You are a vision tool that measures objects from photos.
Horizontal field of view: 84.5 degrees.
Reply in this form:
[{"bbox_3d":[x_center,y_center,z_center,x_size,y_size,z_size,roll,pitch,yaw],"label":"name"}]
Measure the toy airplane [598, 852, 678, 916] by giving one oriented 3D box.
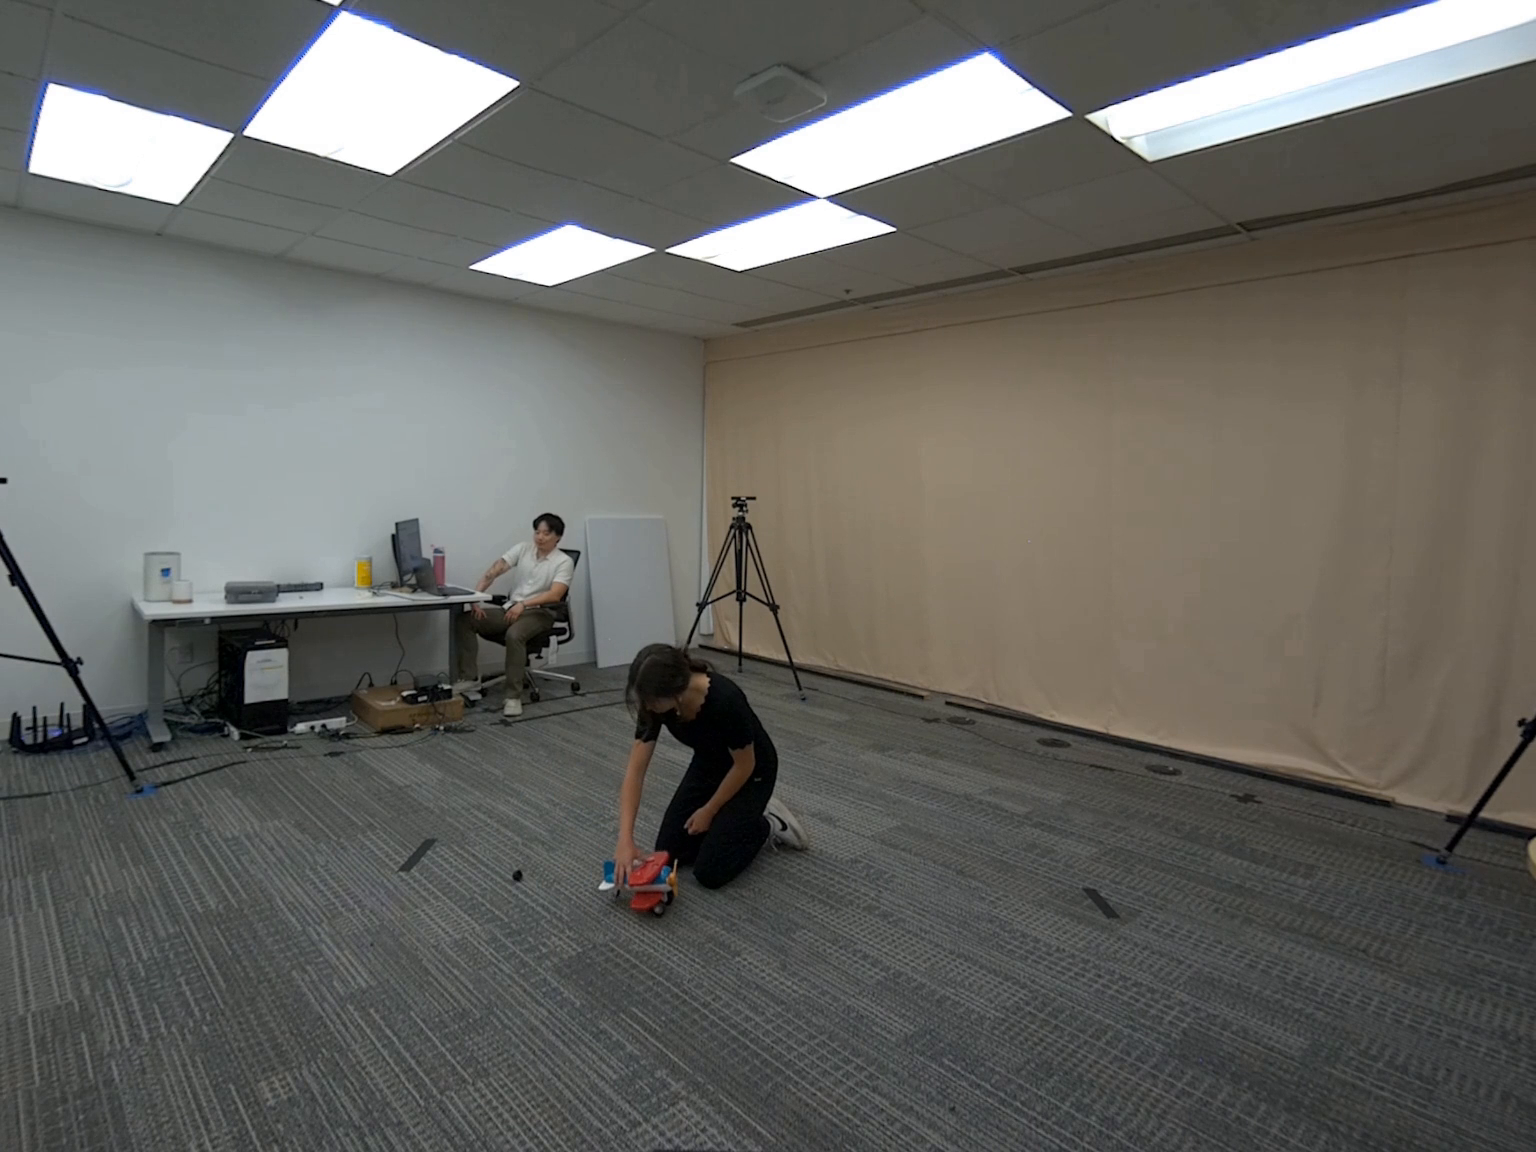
[{"bbox_3d":[-0.447,1.048,2.822,0.256,0.156,0.255,5,6,-15],"label":"toy airplane"}]
